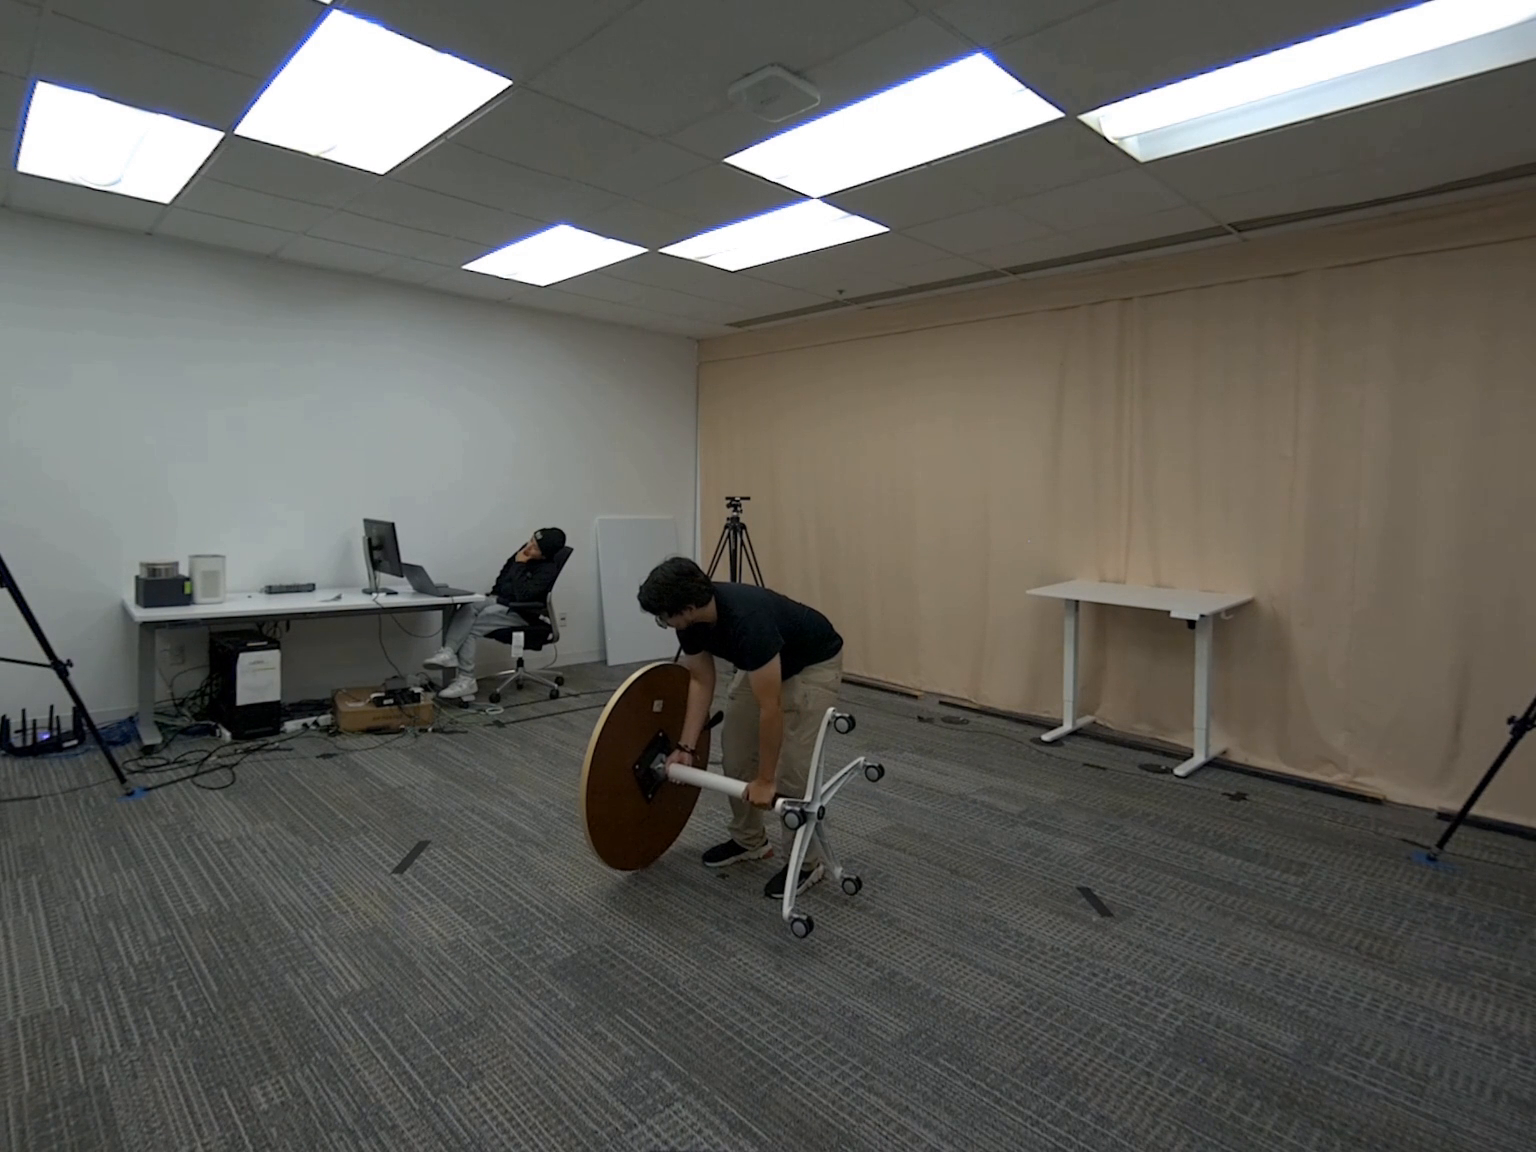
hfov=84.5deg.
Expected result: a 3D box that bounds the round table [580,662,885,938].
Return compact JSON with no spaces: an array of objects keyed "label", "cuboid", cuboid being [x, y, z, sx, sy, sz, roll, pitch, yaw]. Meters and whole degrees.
[{"label":"round table","cuboid":[-0.105,0.737,2.932,0.804,0.782,0.770,6,6,30]}]
